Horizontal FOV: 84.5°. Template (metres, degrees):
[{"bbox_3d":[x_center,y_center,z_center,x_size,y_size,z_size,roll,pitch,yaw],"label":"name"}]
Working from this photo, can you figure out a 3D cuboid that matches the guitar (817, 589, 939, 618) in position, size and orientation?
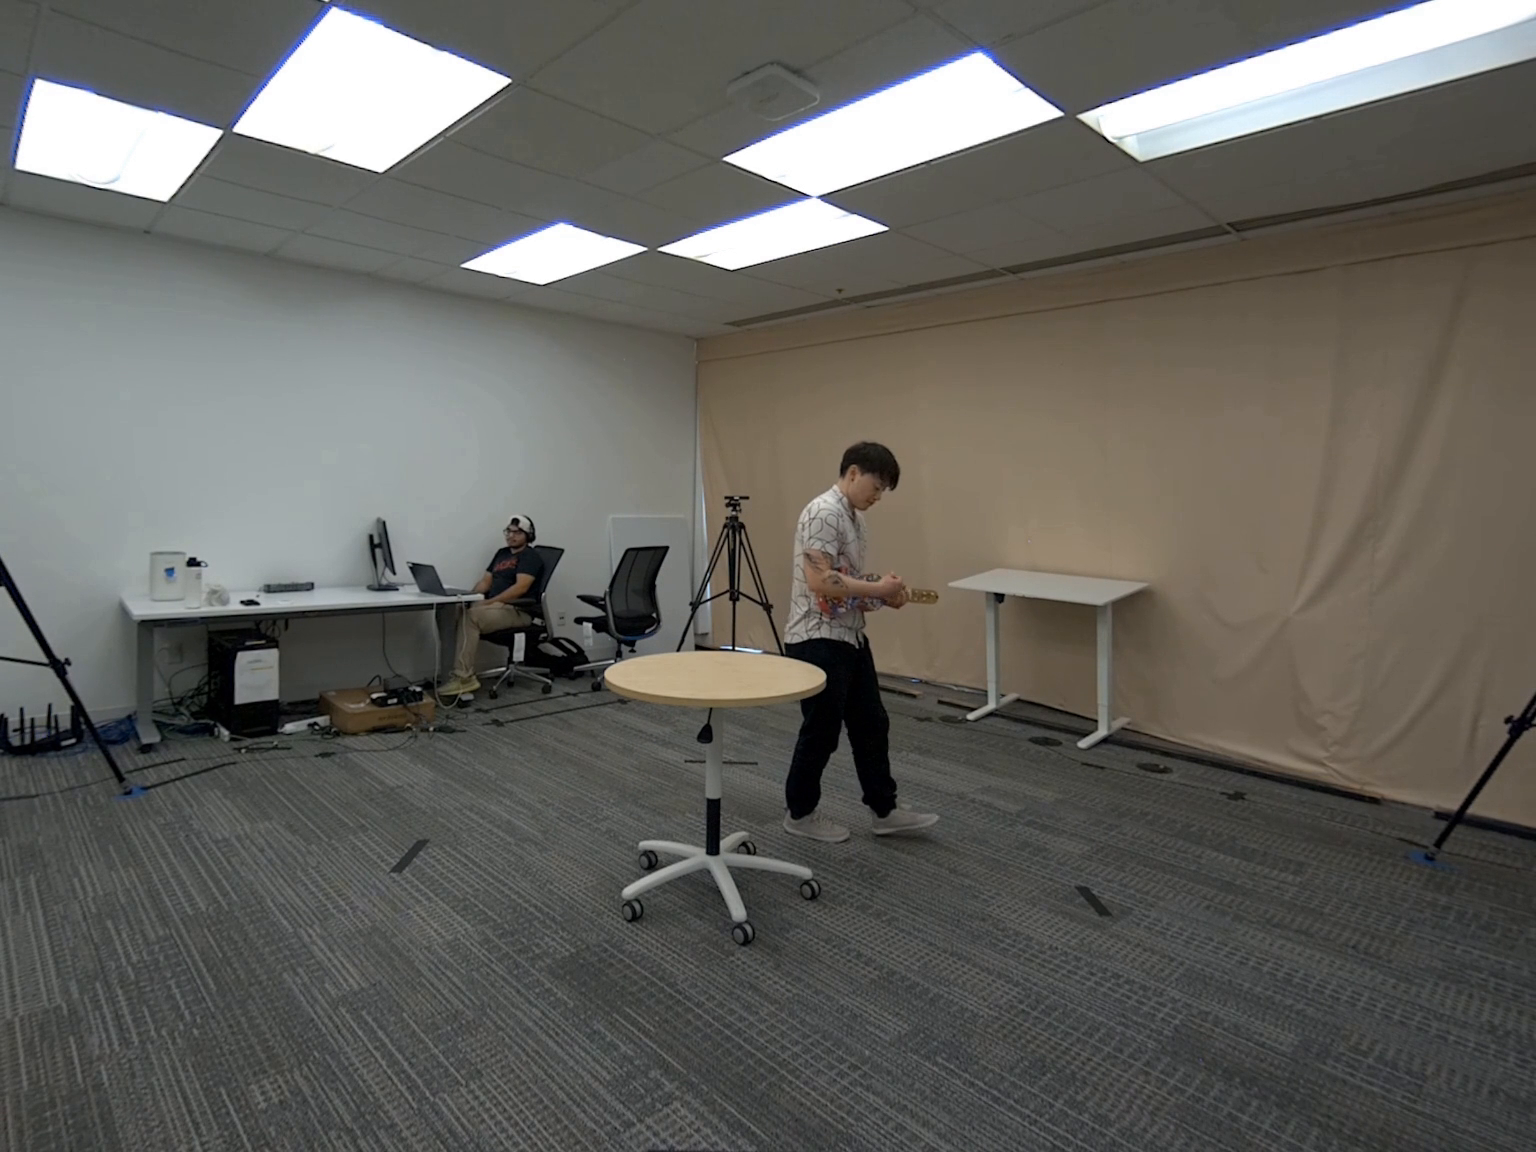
[{"bbox_3d":[0.424,0.092,3.312,0.492,0.194,0.071,14,-7,-13],"label":"guitar"}]
